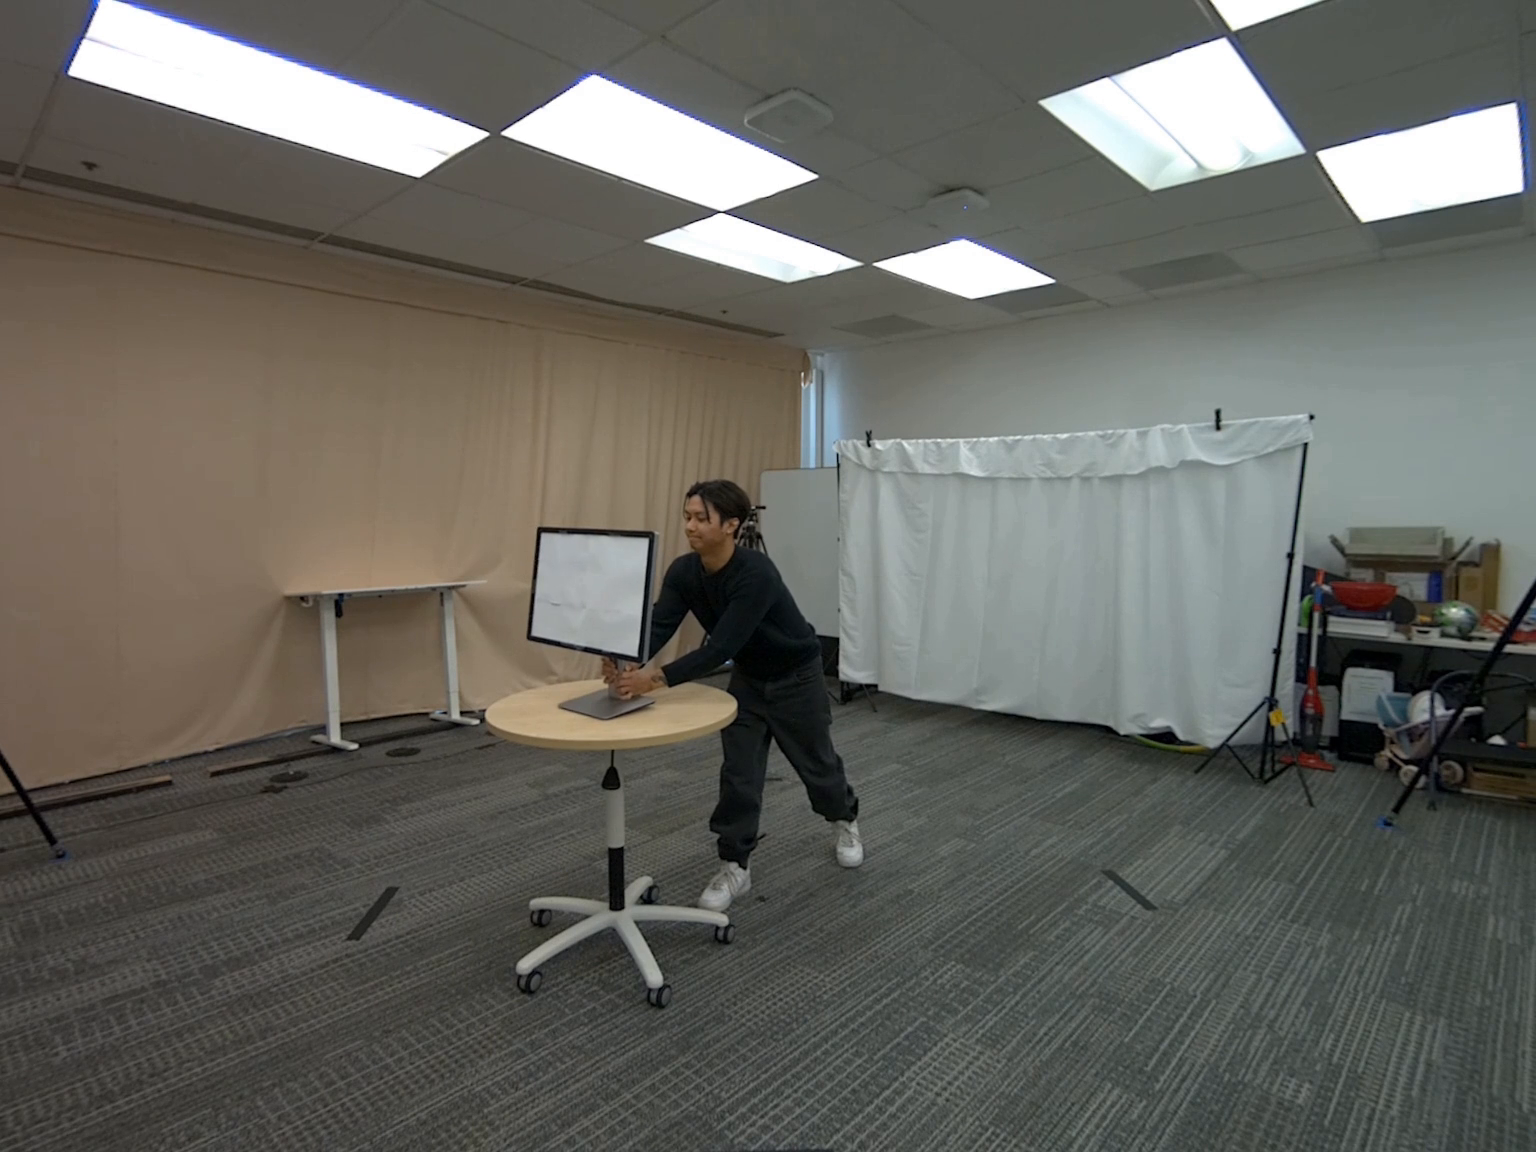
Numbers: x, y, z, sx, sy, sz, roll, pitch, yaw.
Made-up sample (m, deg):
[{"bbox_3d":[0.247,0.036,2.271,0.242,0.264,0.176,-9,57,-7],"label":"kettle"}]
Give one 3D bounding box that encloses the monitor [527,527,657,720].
[{"bbox_3d":[-0.505,0.130,2.531,0.557,0.520,0.182,3,8,40],"label":"monitor"}]
